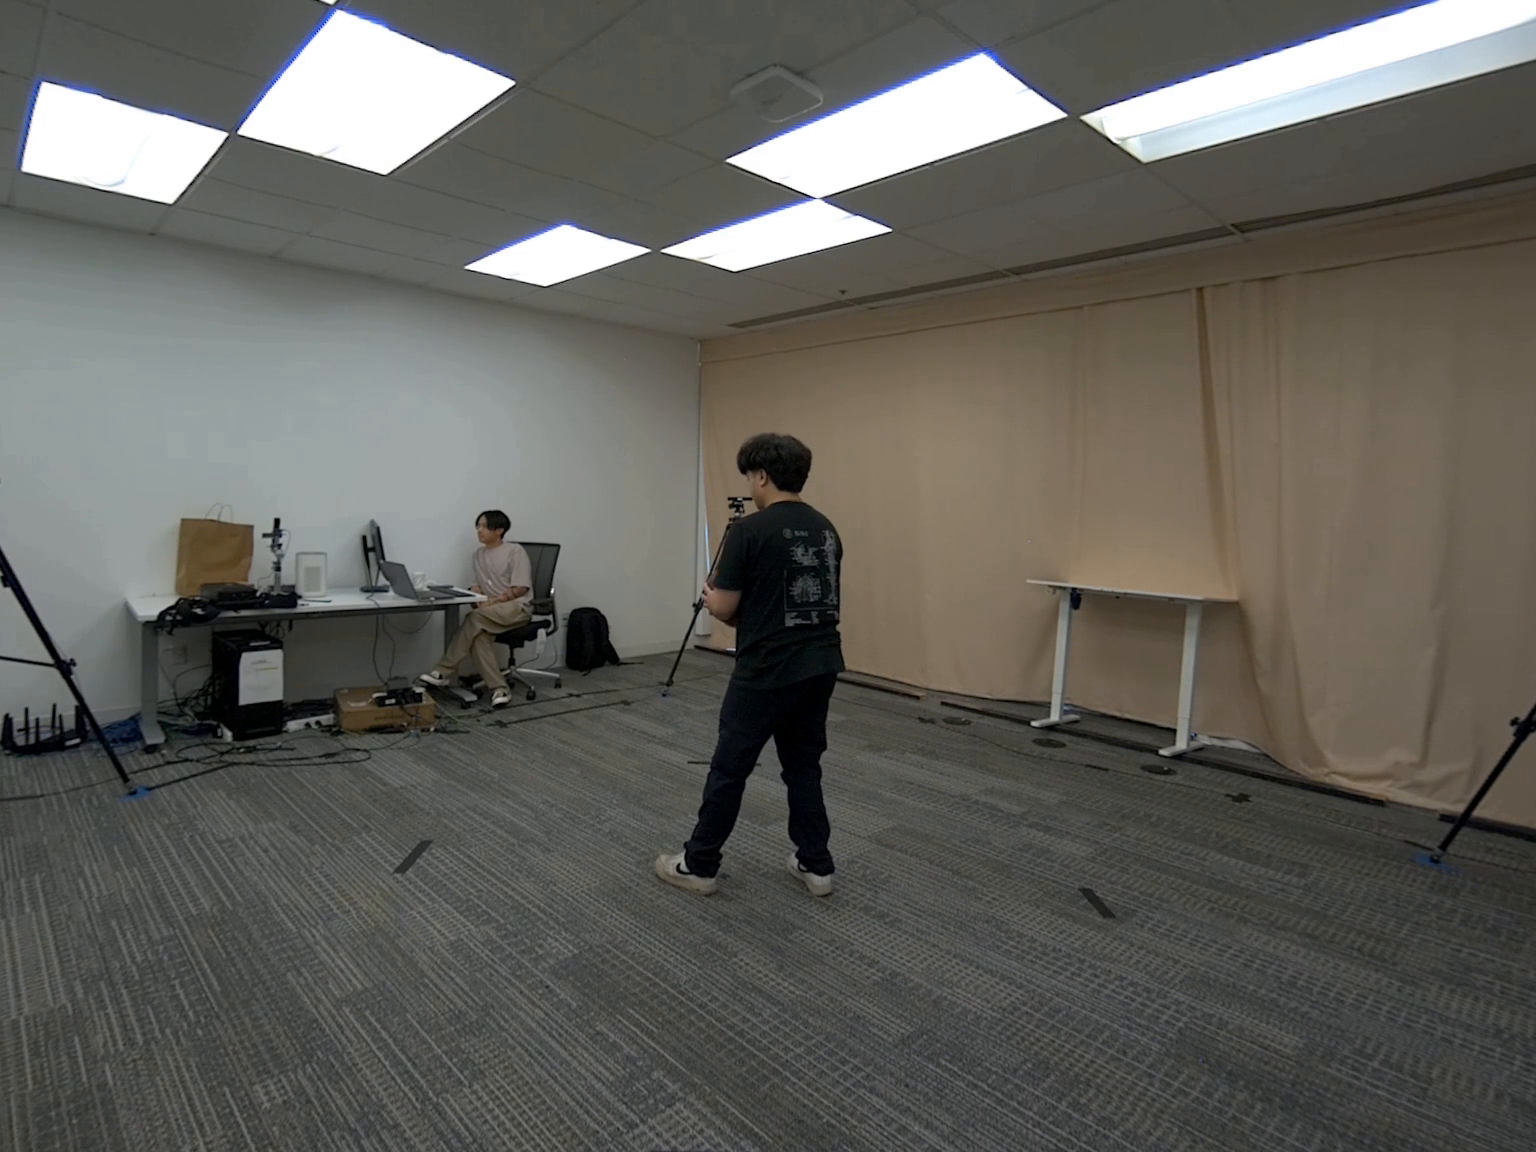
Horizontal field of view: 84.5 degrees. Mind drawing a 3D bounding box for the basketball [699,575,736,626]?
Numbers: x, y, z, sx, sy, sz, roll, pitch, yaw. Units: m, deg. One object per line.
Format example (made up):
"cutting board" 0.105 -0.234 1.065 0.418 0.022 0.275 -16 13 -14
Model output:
"basketball" -0.133 0.070 3.315 0.236 0.235 0.237 1 4 -1
